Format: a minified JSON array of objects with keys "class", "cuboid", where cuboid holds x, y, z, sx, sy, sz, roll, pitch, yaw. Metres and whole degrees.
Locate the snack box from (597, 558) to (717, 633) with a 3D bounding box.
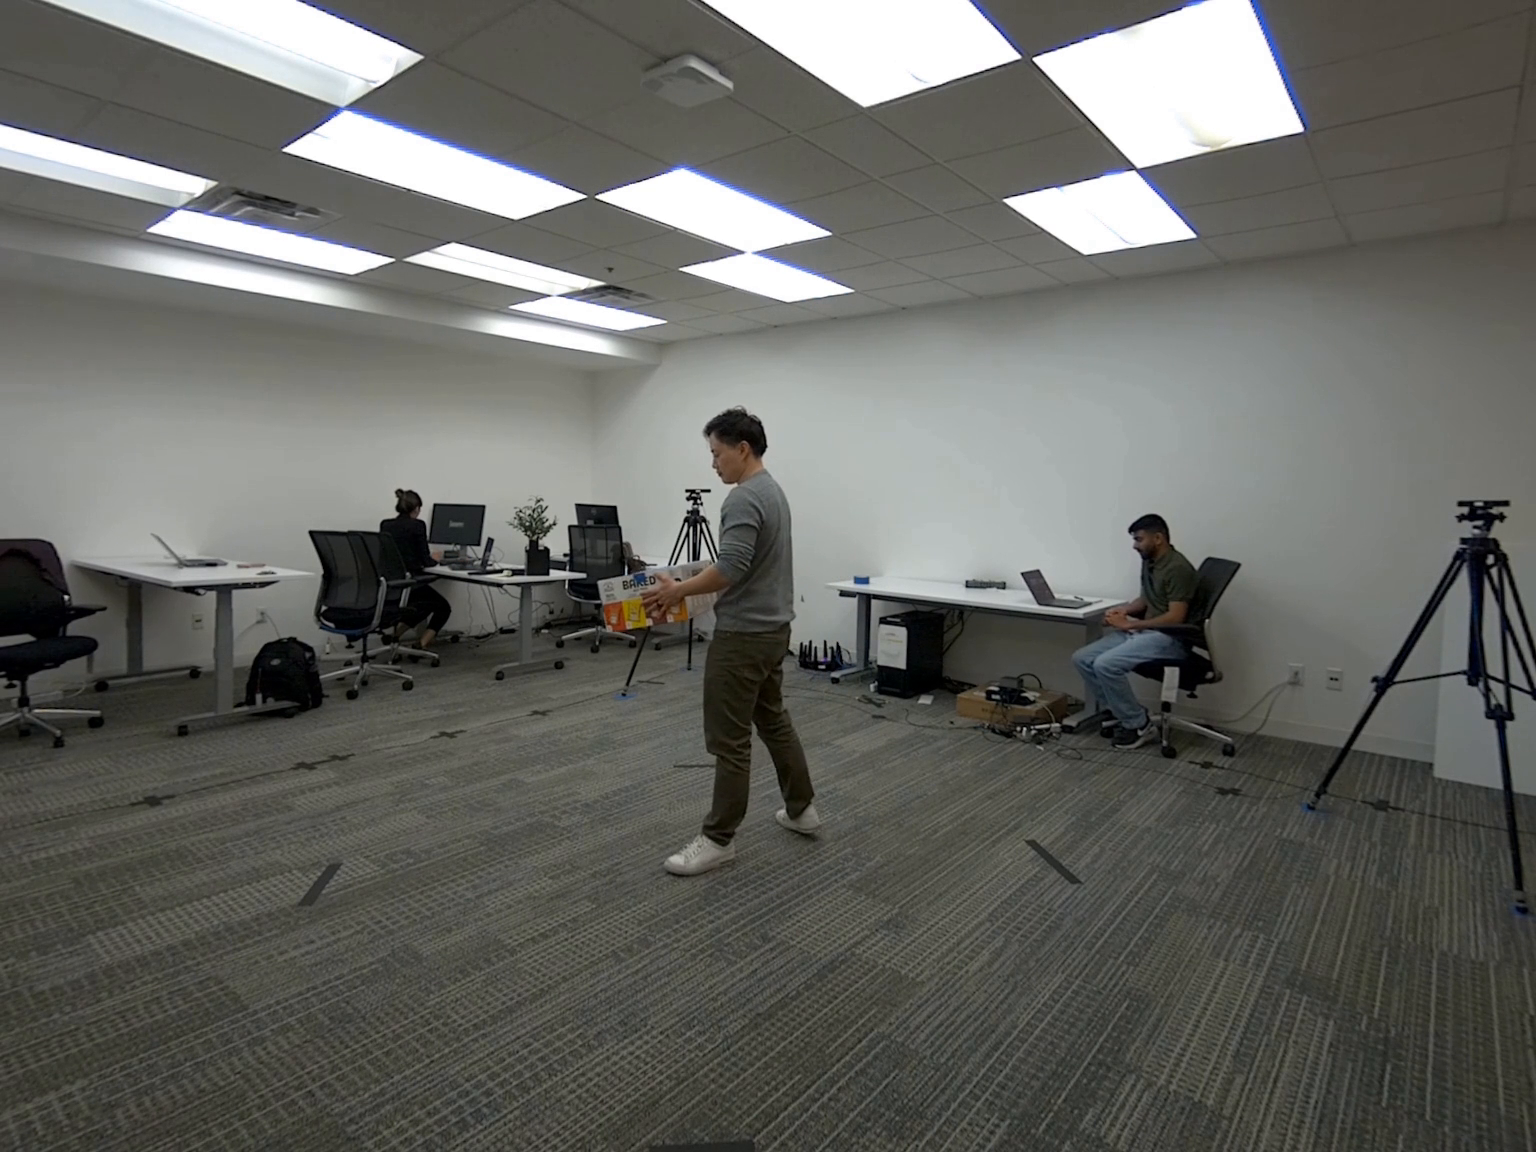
[{"class":"snack box","cuboid":[-0.427,0.070,3.370,0.345,0.205,0.399,-10,2,16]}]
